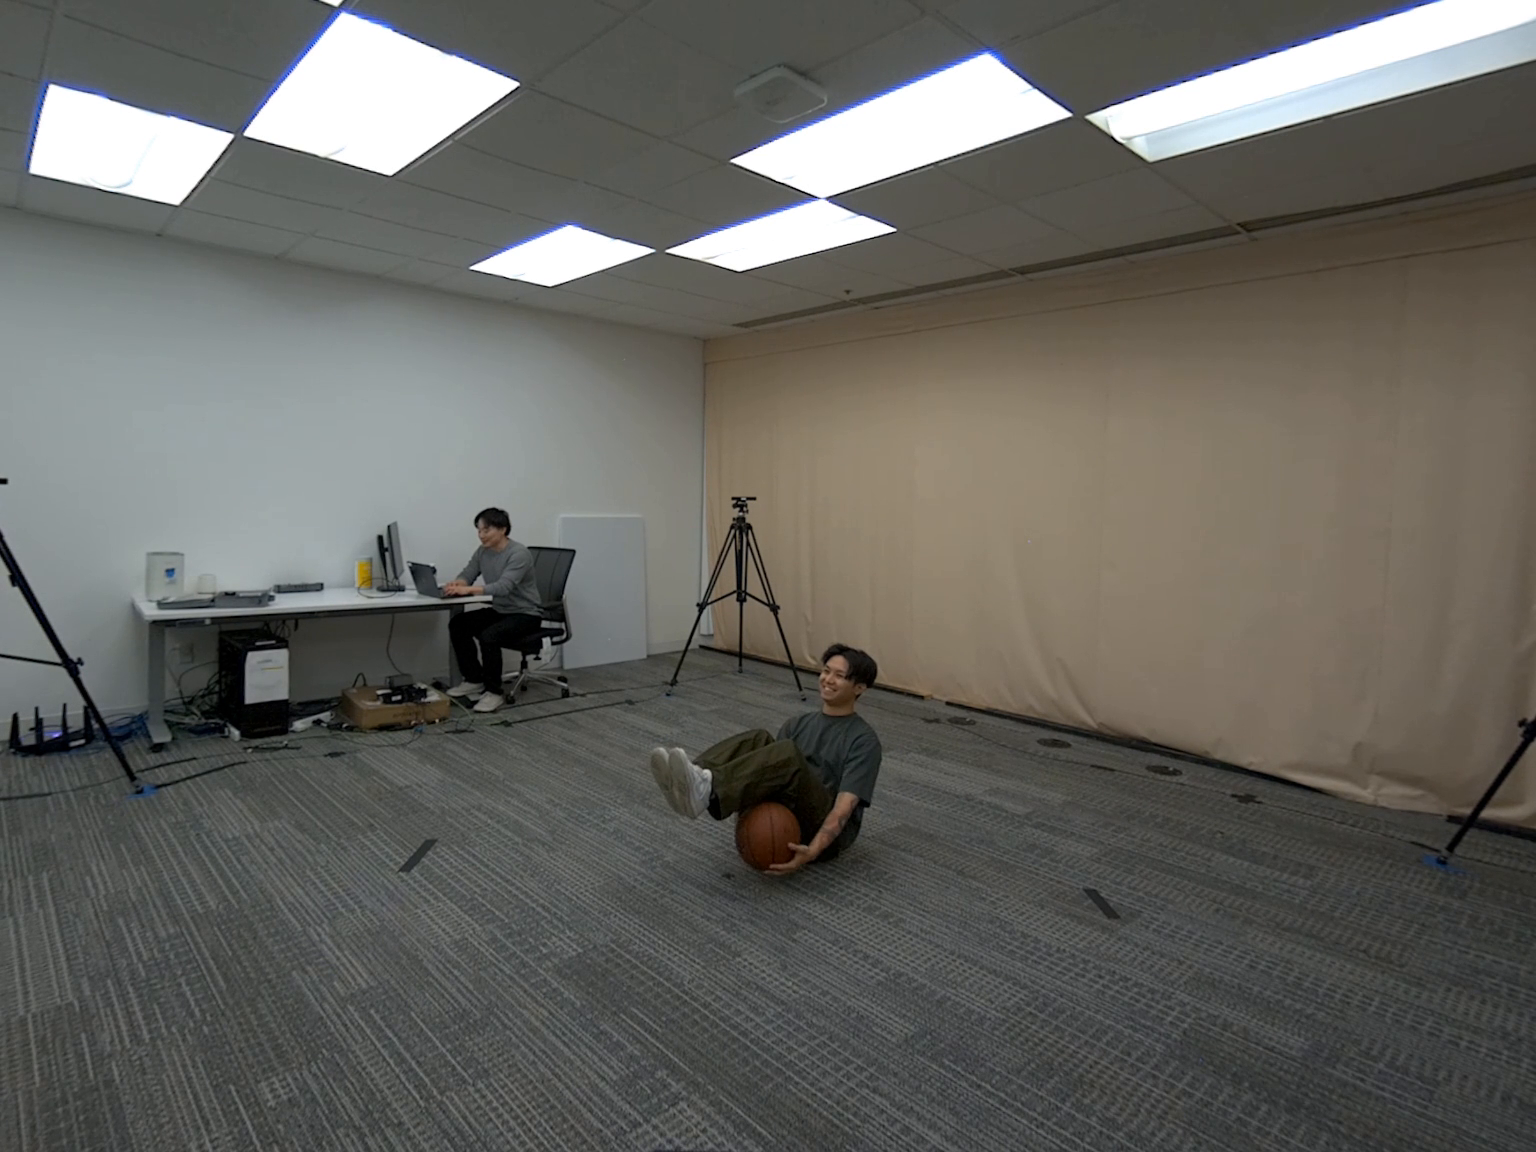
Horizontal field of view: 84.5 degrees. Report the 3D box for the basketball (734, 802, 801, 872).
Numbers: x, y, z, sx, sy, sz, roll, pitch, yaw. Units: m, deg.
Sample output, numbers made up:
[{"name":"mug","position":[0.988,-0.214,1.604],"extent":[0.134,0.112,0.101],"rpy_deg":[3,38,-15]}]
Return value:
[{"name":"basketball","position":[-0.016,0.927,3.029],"extent":[0.236,0.235,0.237],"rpy_deg":[1,4,-1]}]
